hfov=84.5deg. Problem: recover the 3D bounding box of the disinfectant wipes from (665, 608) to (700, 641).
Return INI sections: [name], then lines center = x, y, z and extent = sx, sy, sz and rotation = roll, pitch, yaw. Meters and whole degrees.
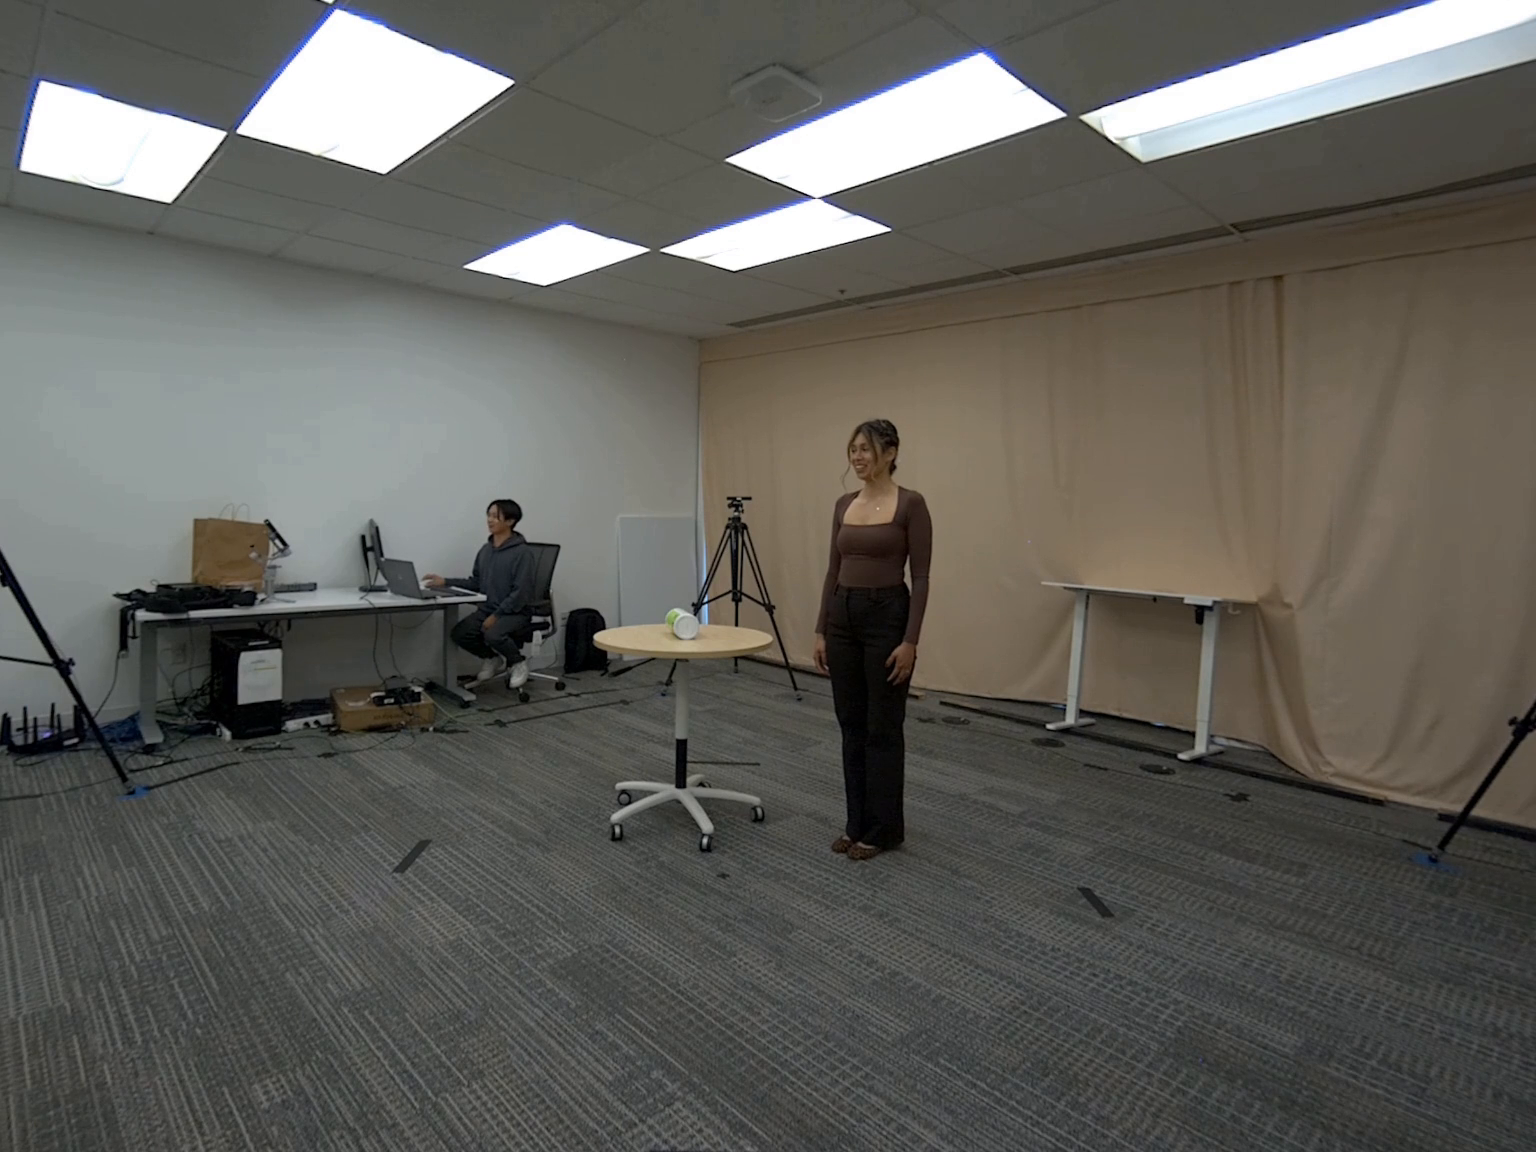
[disinfectant wipes]
center = -0.363, 0.205, 3.613
extent = 0.116, 0.117, 0.220
rotation = 1, 3, -13
